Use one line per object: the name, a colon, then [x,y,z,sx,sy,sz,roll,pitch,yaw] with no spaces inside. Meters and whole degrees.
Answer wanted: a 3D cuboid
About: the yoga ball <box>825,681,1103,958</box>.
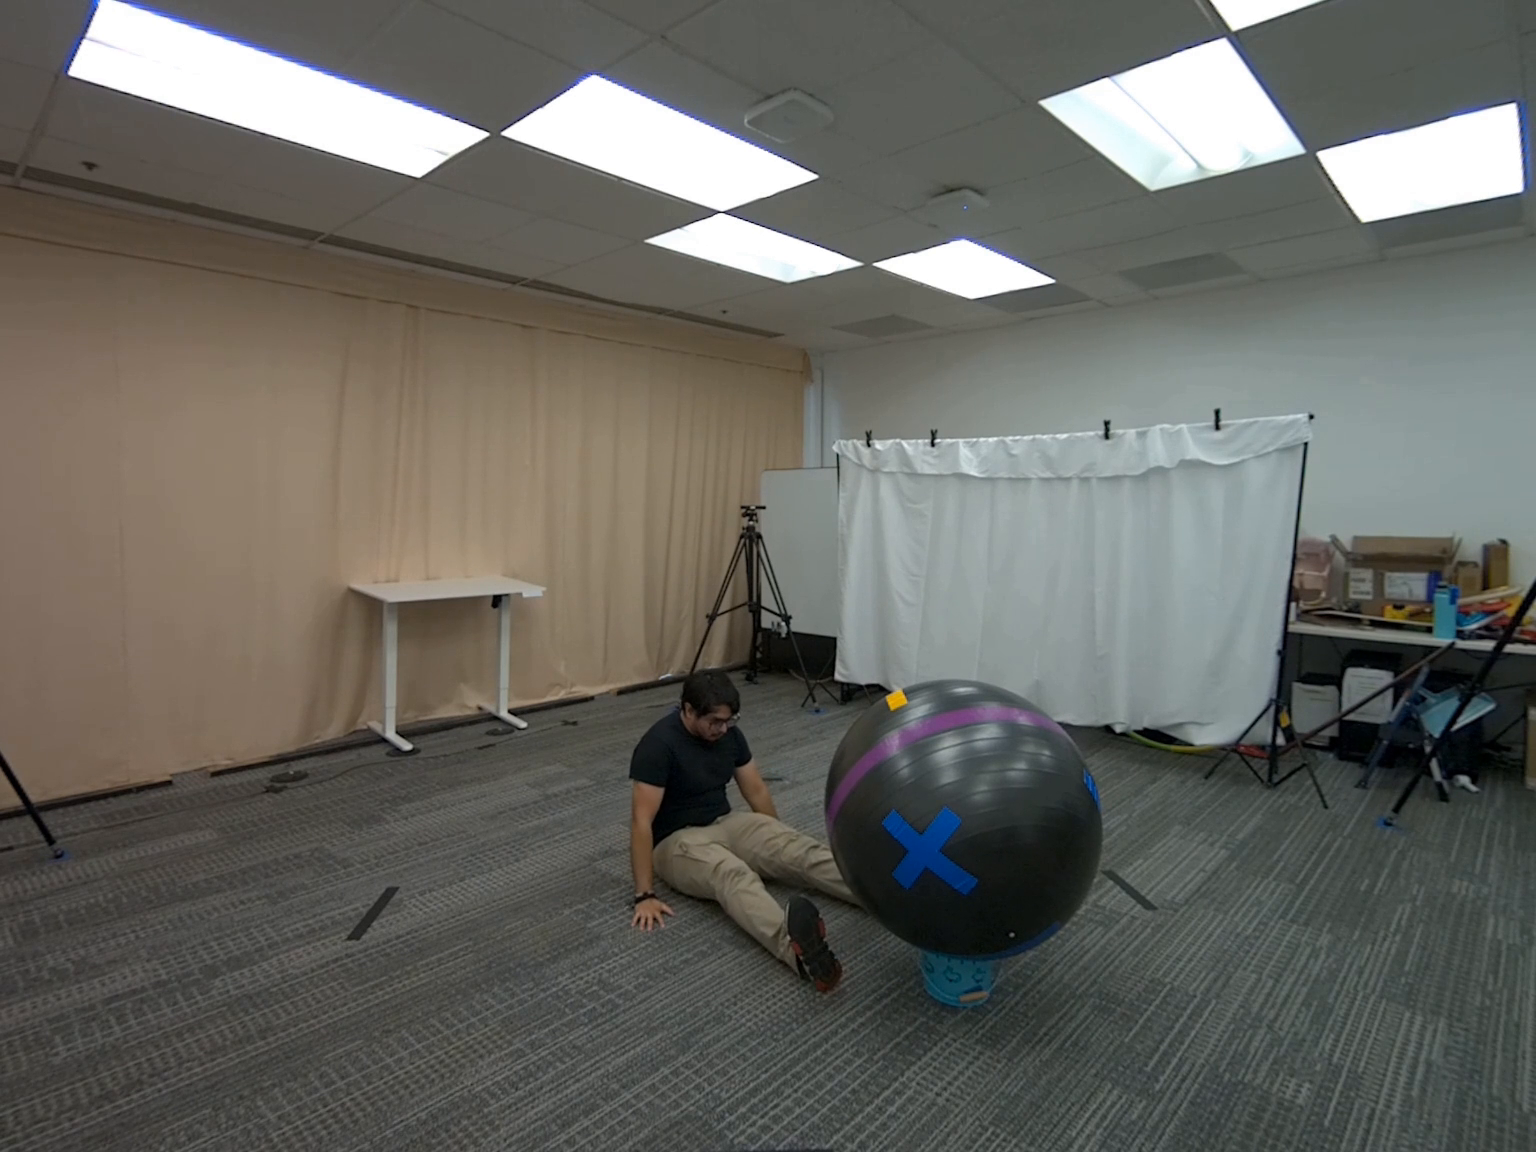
yoga ball: [0.551,0.683,2.403,0.757,0.756,0.760,0,4,-2]
